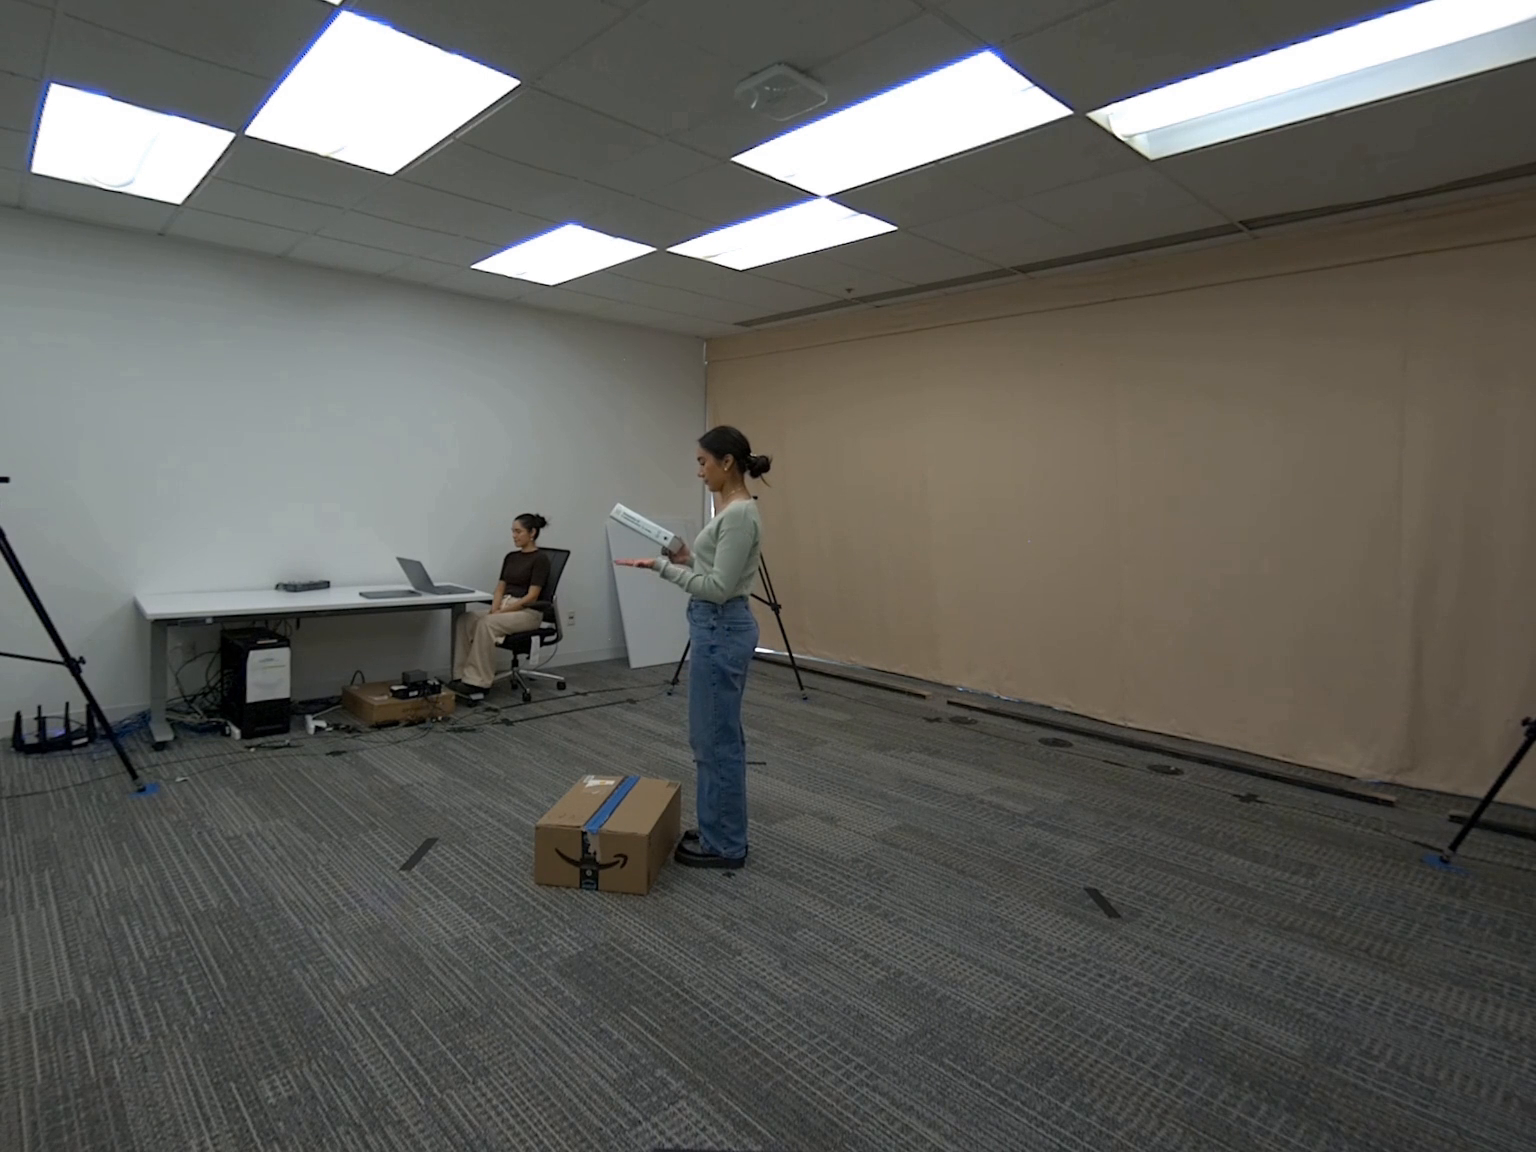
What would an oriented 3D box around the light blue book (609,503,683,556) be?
[{"bbox_3d":[-0.473,-0.179,3.285,0.264,0.059,0.189,29,-4,10],"label":"light blue book"}]
